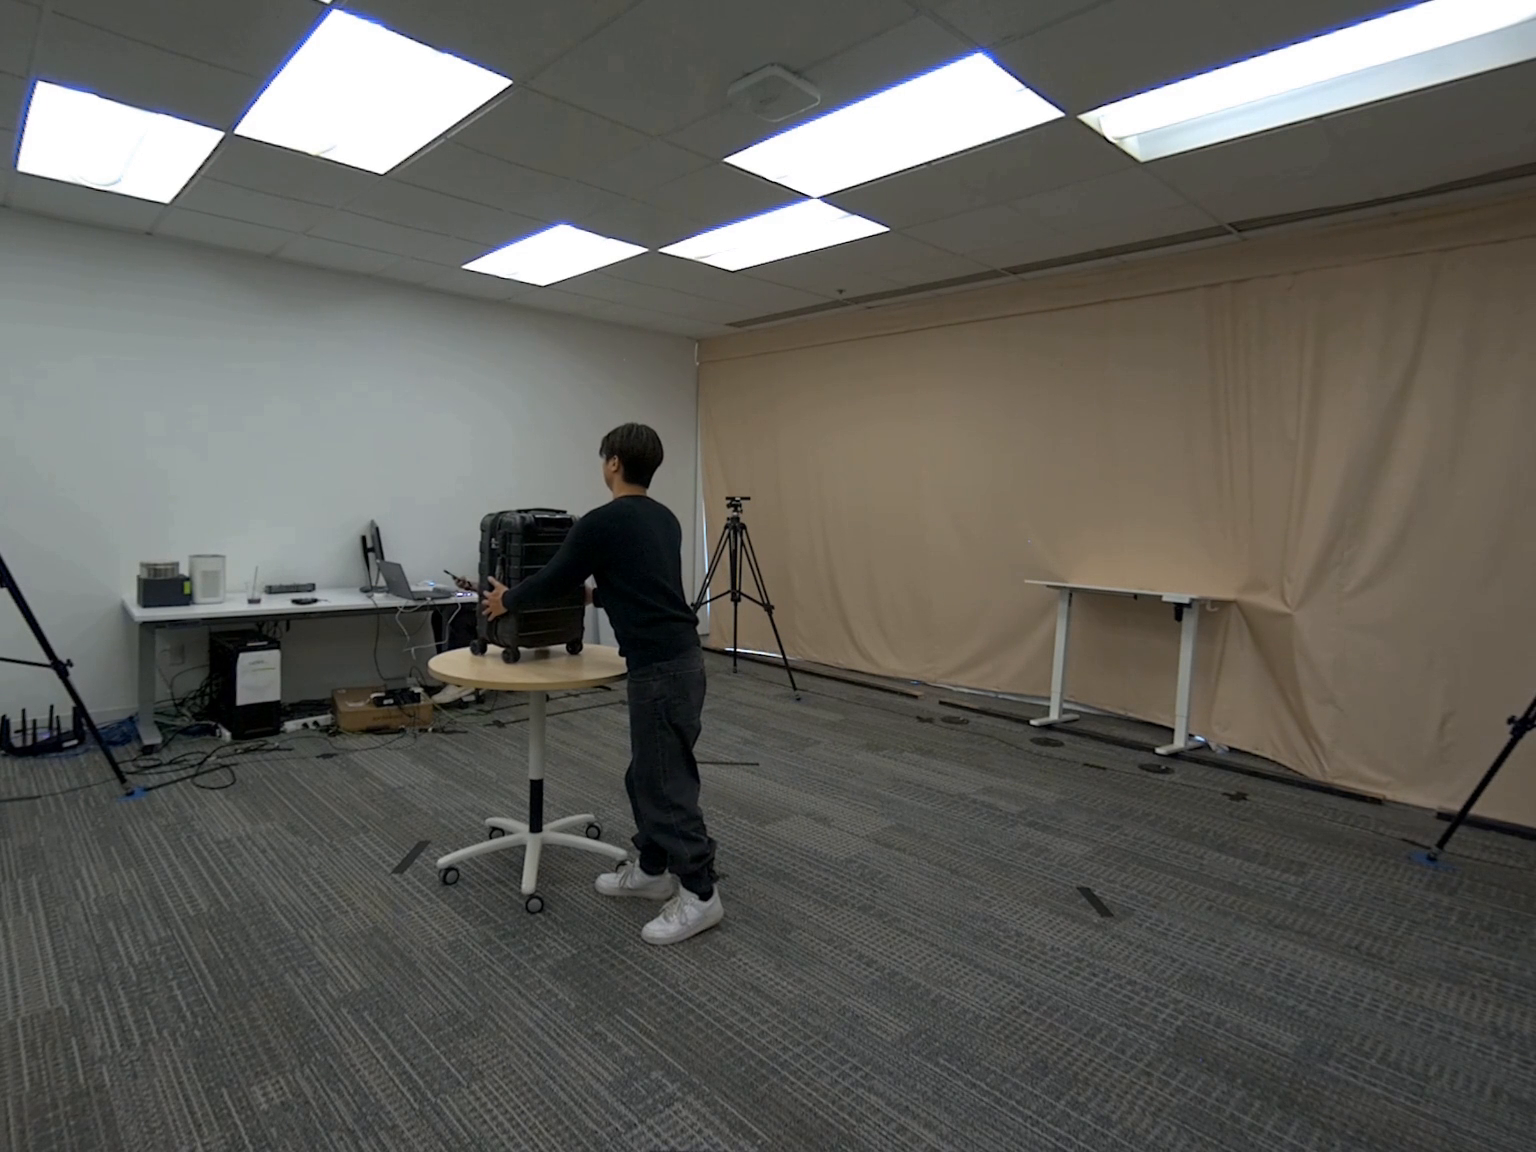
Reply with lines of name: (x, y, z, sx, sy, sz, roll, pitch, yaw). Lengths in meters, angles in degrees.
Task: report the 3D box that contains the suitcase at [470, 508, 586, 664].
suitcase: (-0.902, 0.020, 3.174, 0.255, 0.548, 0.367, 6, 5, 40)
